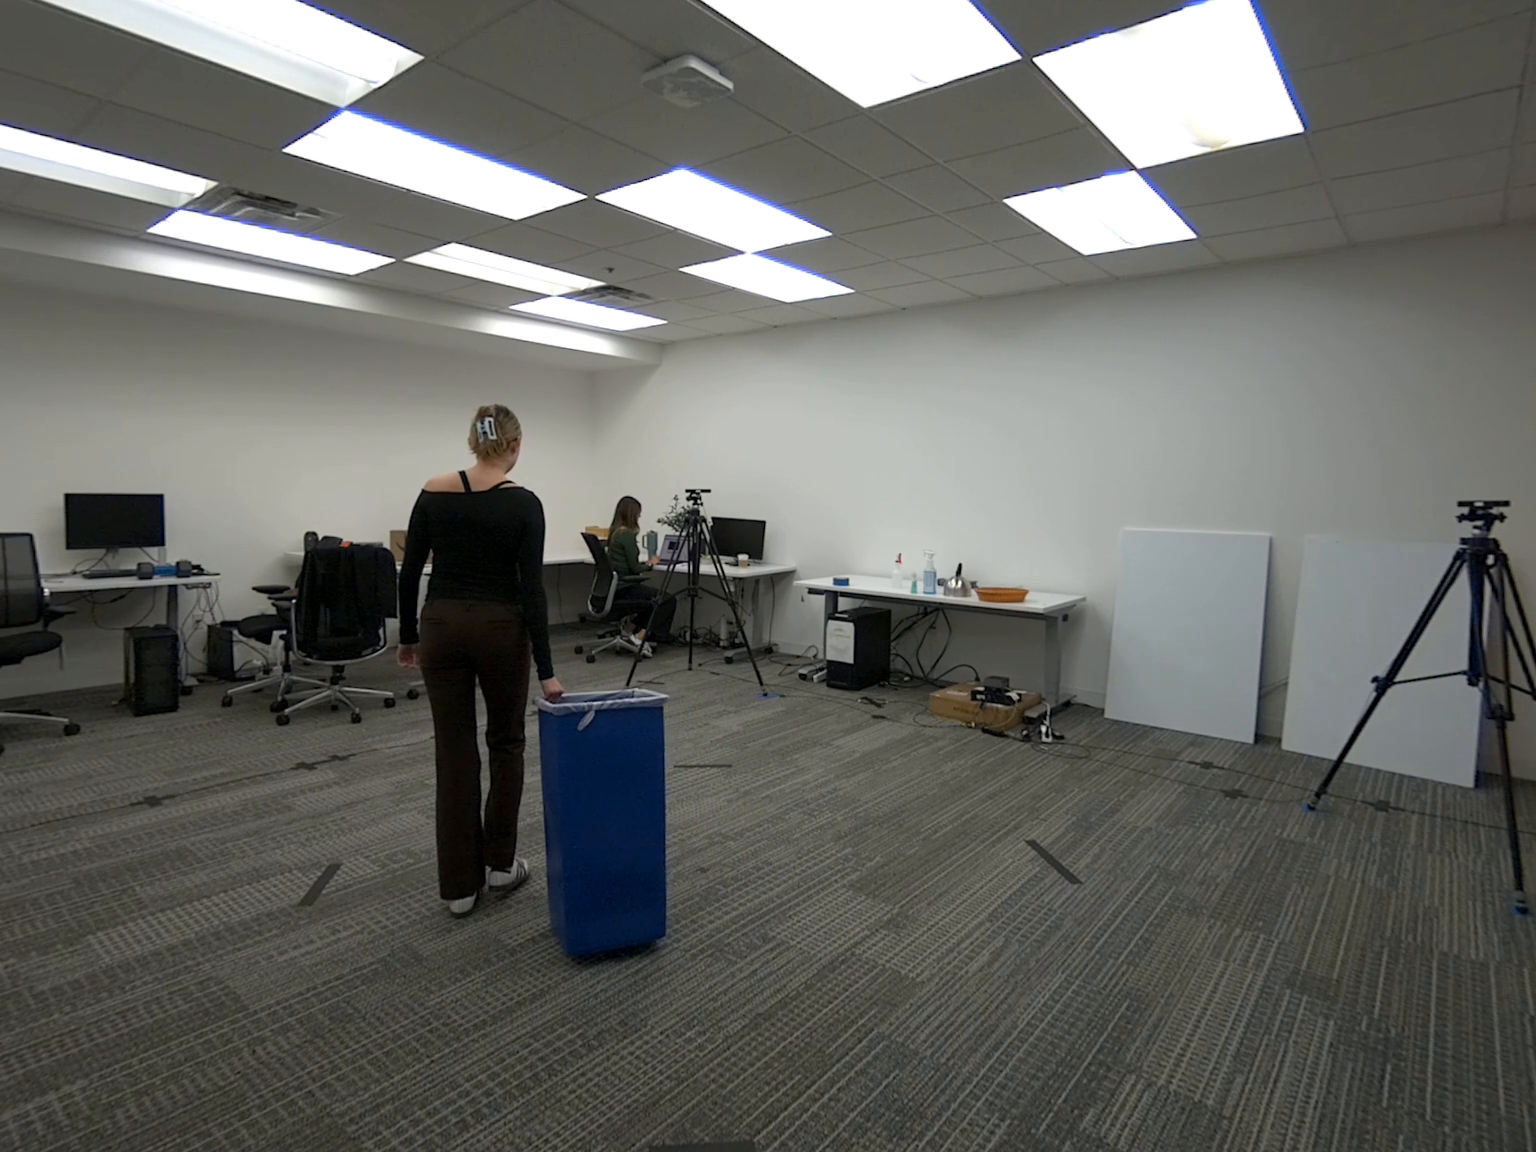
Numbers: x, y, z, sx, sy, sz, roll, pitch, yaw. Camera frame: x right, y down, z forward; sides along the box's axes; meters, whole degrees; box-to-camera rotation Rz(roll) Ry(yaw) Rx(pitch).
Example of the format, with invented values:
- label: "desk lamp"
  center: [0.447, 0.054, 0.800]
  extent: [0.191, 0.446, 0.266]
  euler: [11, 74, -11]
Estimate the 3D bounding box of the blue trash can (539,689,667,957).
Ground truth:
- label: "blue trash can"
  center: [-0.535, 0.734, 2.667]
  extent: [0.369, 0.717, 0.381]
  euler: [0, -5, -24]
